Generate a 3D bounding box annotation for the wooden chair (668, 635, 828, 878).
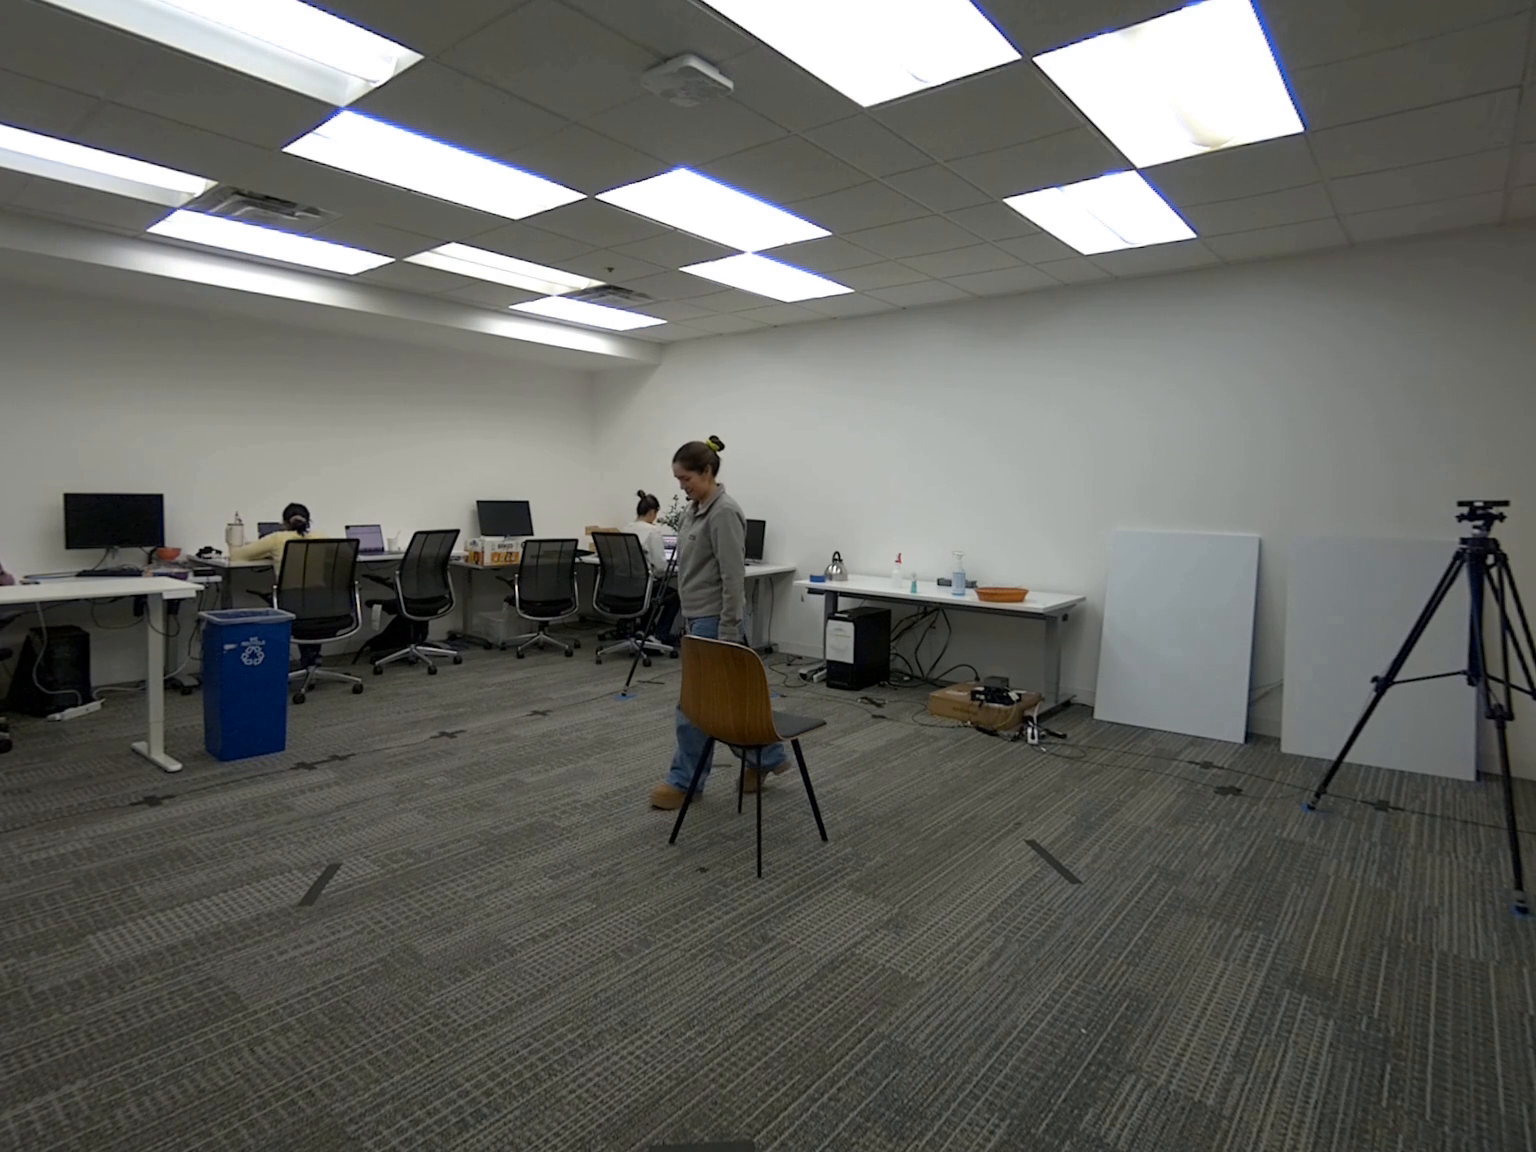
[{"bbox_3d":[-0.070,0.625,3.347,0.494,0.872,0.509,4,8,38],"label":"wooden chair"}]
